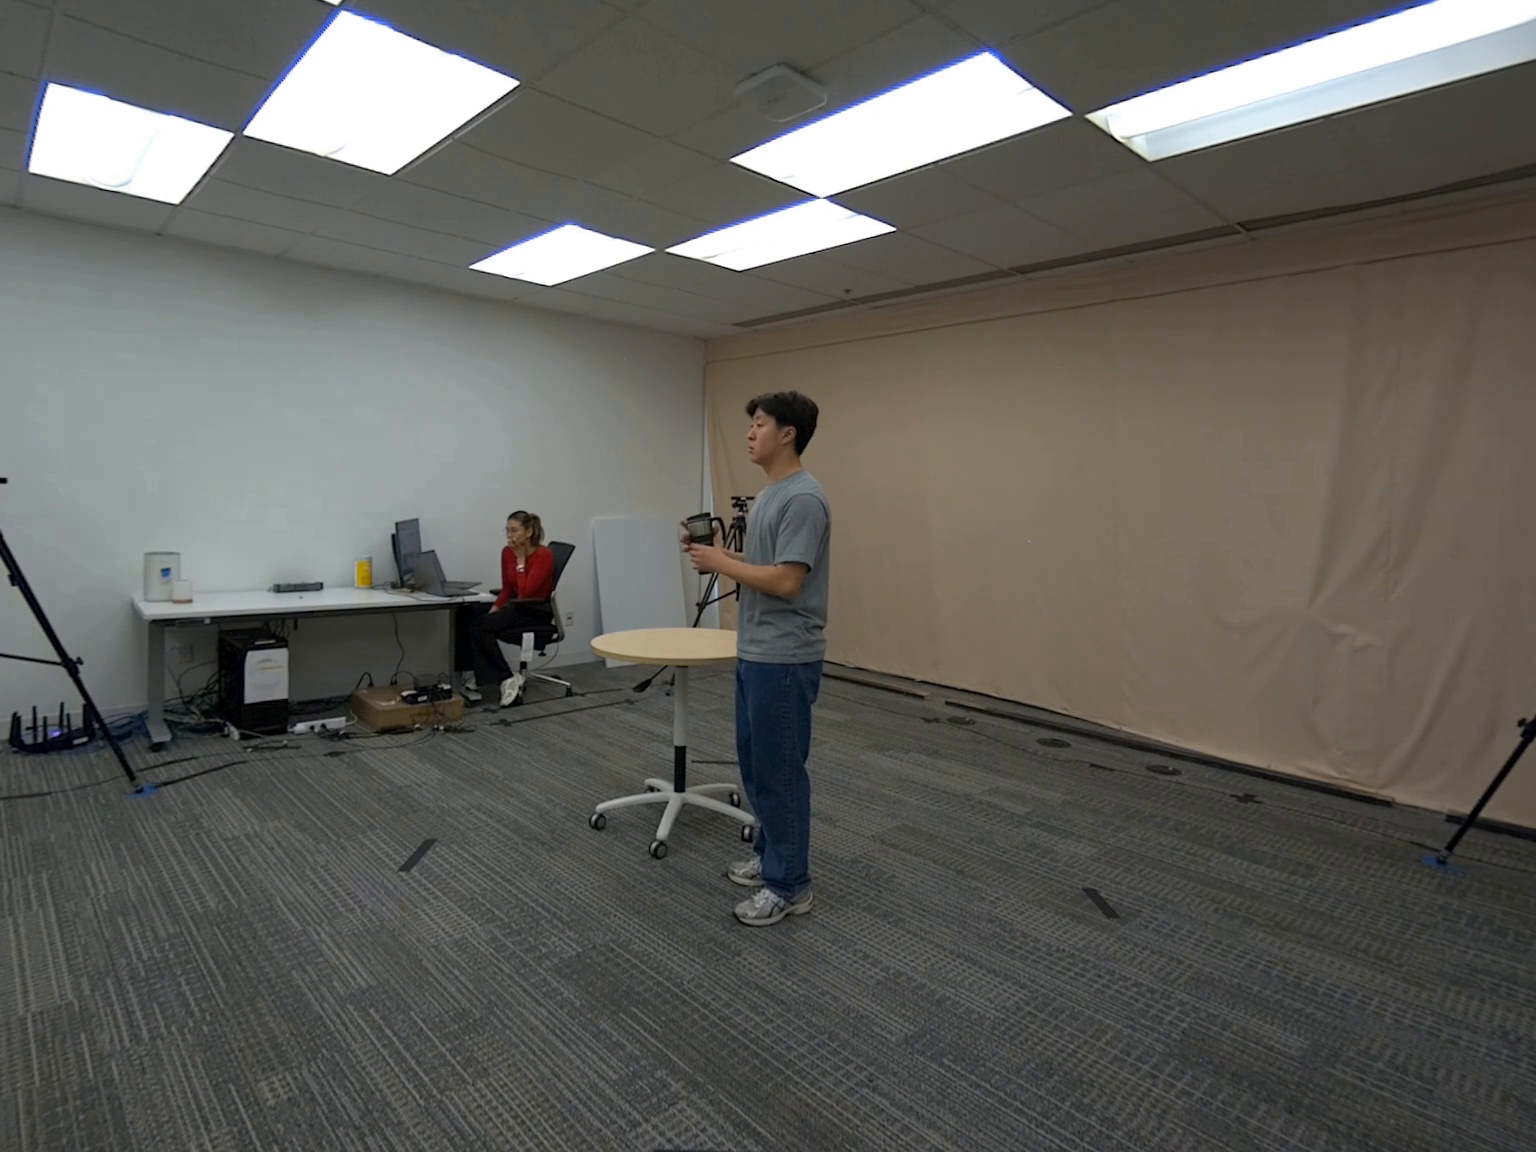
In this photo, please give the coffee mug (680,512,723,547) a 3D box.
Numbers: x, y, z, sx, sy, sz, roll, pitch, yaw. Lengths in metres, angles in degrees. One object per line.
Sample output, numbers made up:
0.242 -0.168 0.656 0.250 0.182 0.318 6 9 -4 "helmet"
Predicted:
-0.199 -0.115 2.819 0.123 0.203 0.087 -14 1 24 "coffee mug"
